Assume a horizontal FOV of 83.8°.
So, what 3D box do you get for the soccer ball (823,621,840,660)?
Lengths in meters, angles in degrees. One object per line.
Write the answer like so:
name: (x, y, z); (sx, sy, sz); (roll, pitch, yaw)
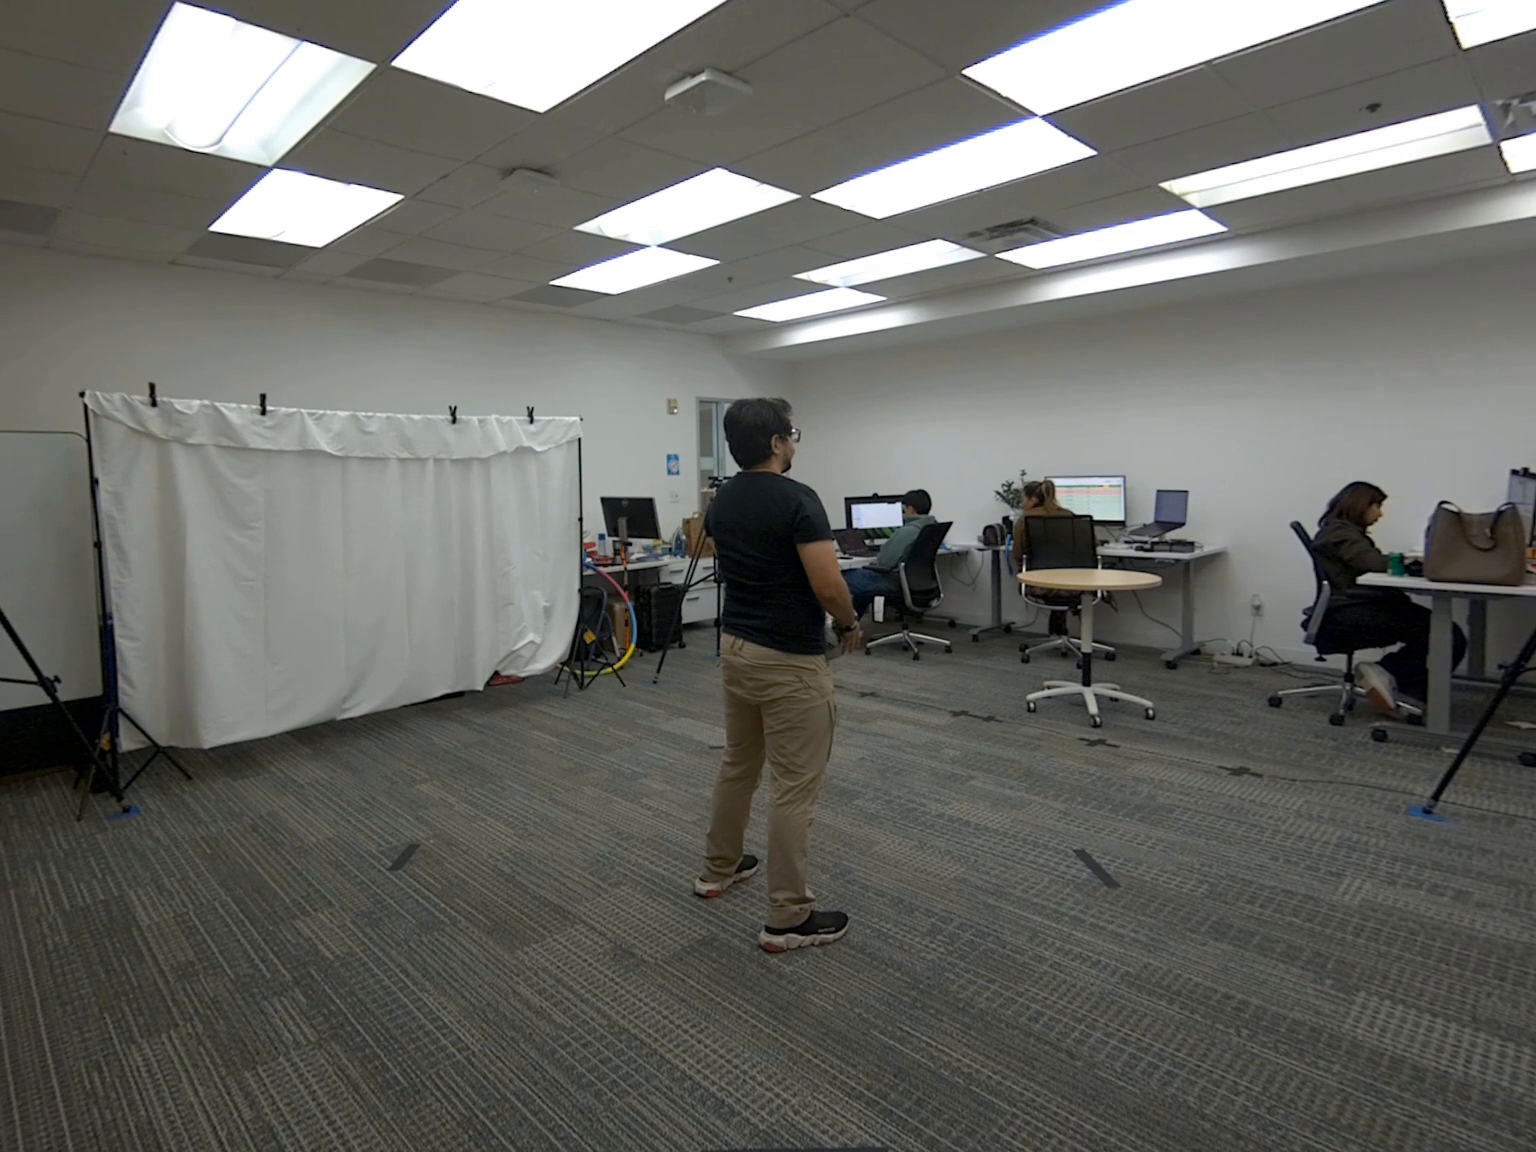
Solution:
soccer ball: (0.201, 0.186, 2.841); (0.187, 0.187, 0.188); (-1, 5, -2)
